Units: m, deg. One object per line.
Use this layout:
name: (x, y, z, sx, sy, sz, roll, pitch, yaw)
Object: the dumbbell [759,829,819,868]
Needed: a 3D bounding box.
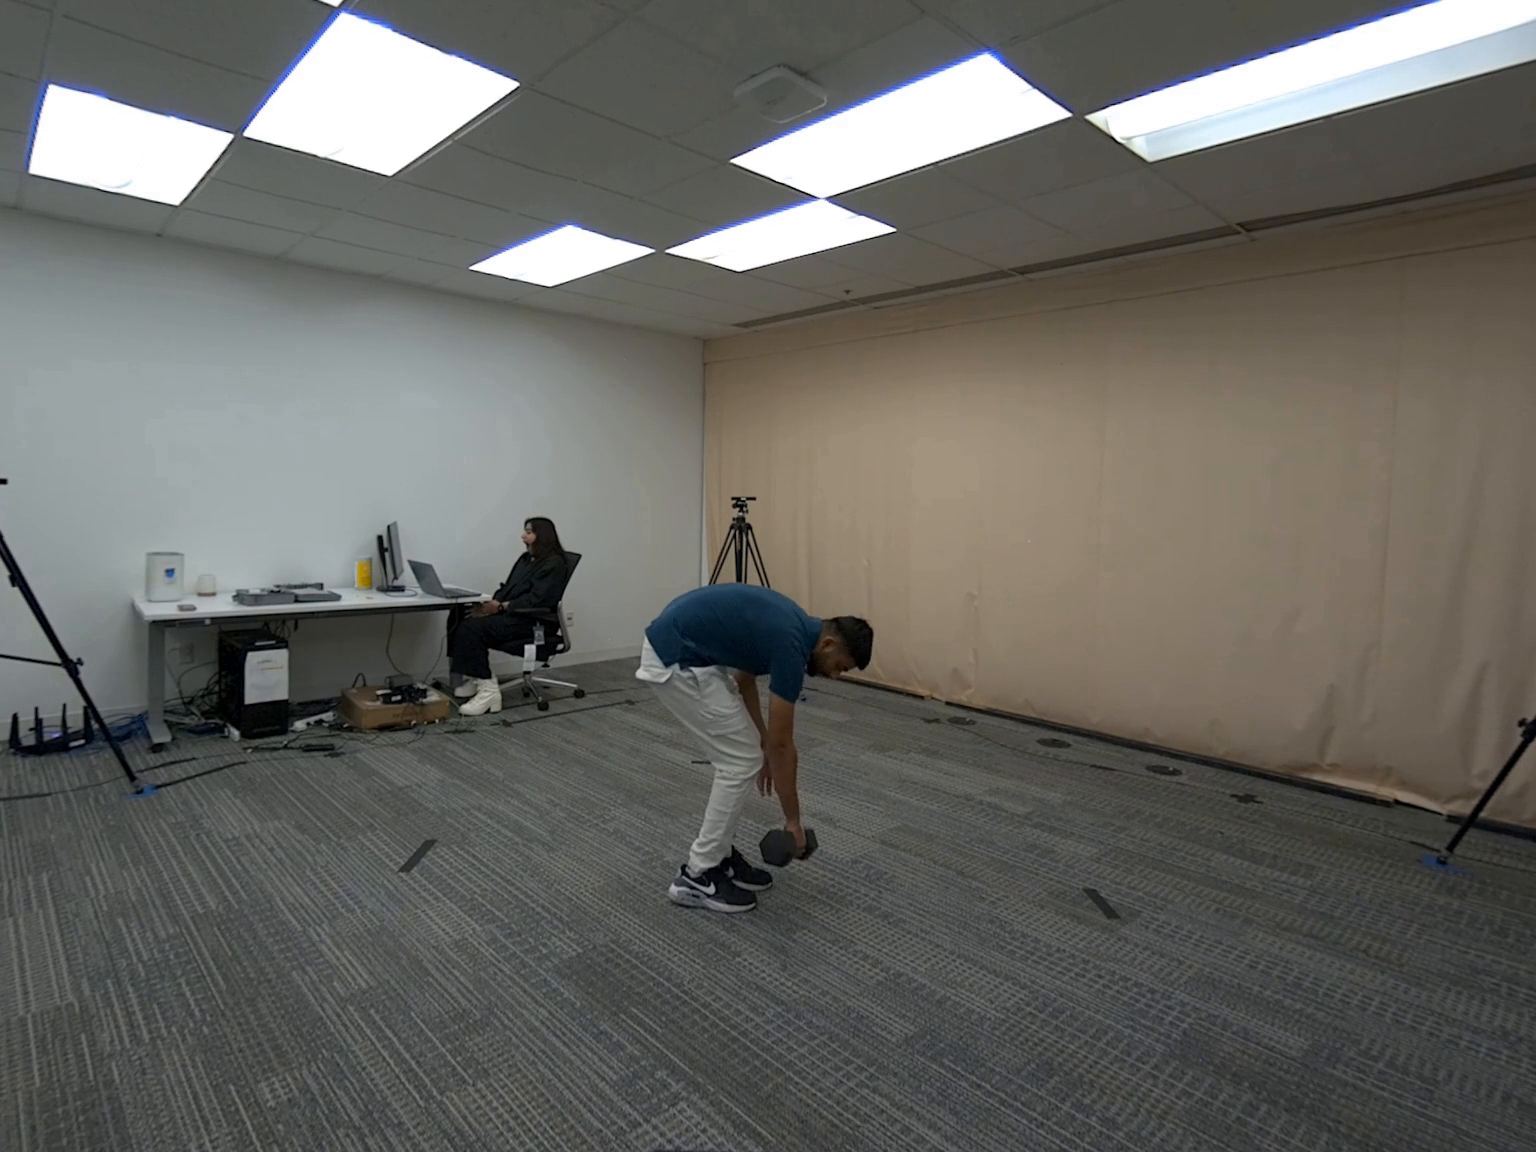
dumbbell: (0.070, 0.916, 2.890, 0.111, 0.123, 0.287, 40, 6, 23)
